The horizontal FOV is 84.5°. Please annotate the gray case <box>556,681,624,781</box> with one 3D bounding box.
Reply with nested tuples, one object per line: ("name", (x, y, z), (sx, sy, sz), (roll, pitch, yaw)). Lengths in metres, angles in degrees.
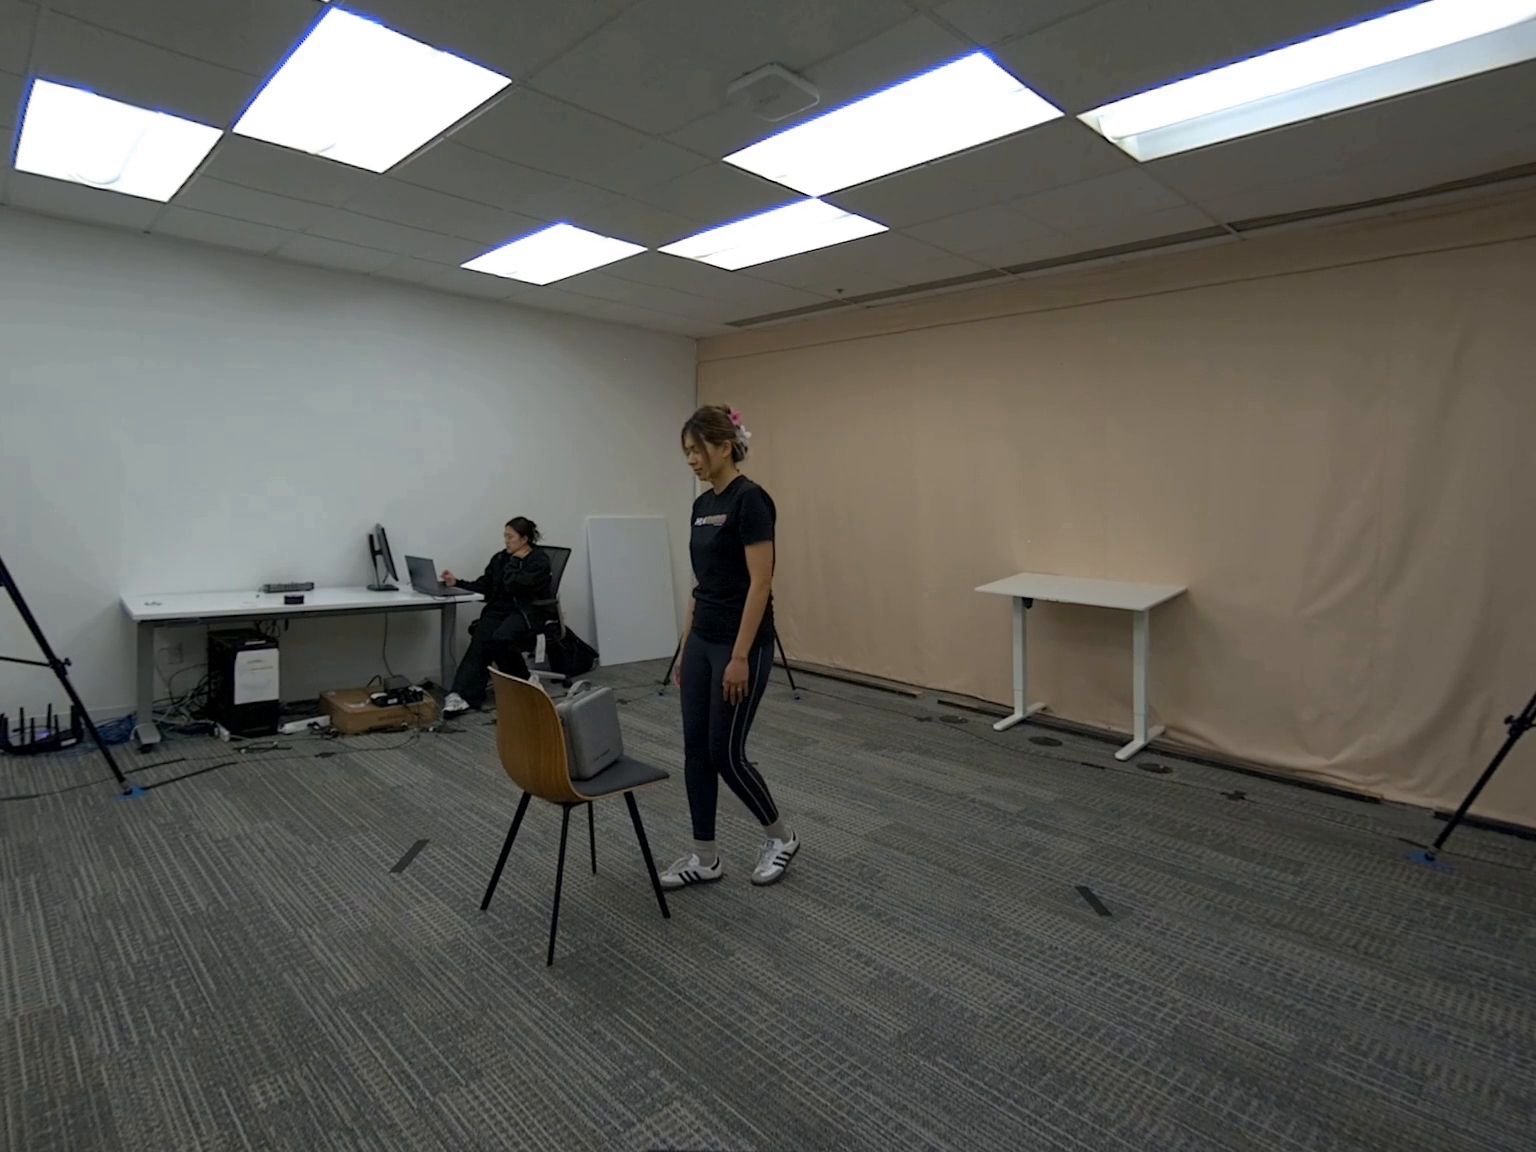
("gray case", (-0.608, 0.517, 2.790), (0.106, 0.260, 0.254), (-7, 3, 22))
